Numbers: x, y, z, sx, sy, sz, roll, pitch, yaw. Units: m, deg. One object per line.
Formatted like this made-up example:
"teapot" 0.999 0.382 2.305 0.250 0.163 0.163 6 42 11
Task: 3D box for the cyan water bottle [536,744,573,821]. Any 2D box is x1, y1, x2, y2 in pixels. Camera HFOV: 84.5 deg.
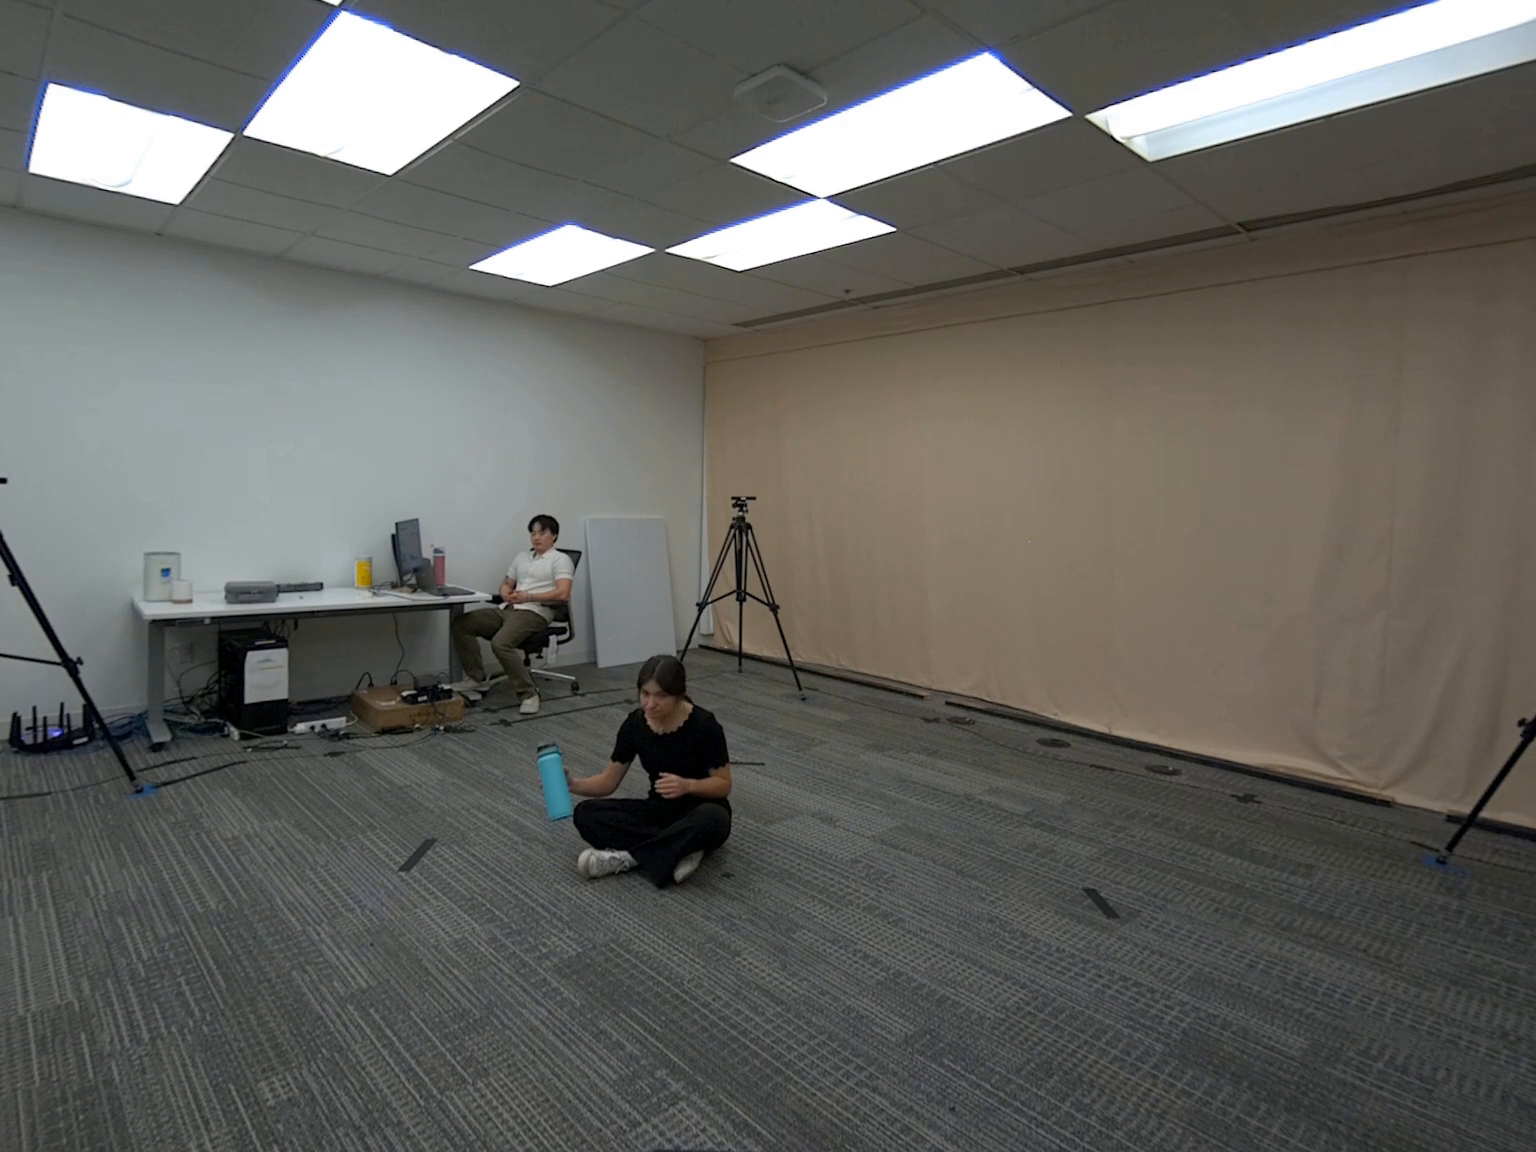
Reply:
"cyan water bottle" -0.797 0.755 3.099 0.092 0.288 0.091 -12 -17 -5
